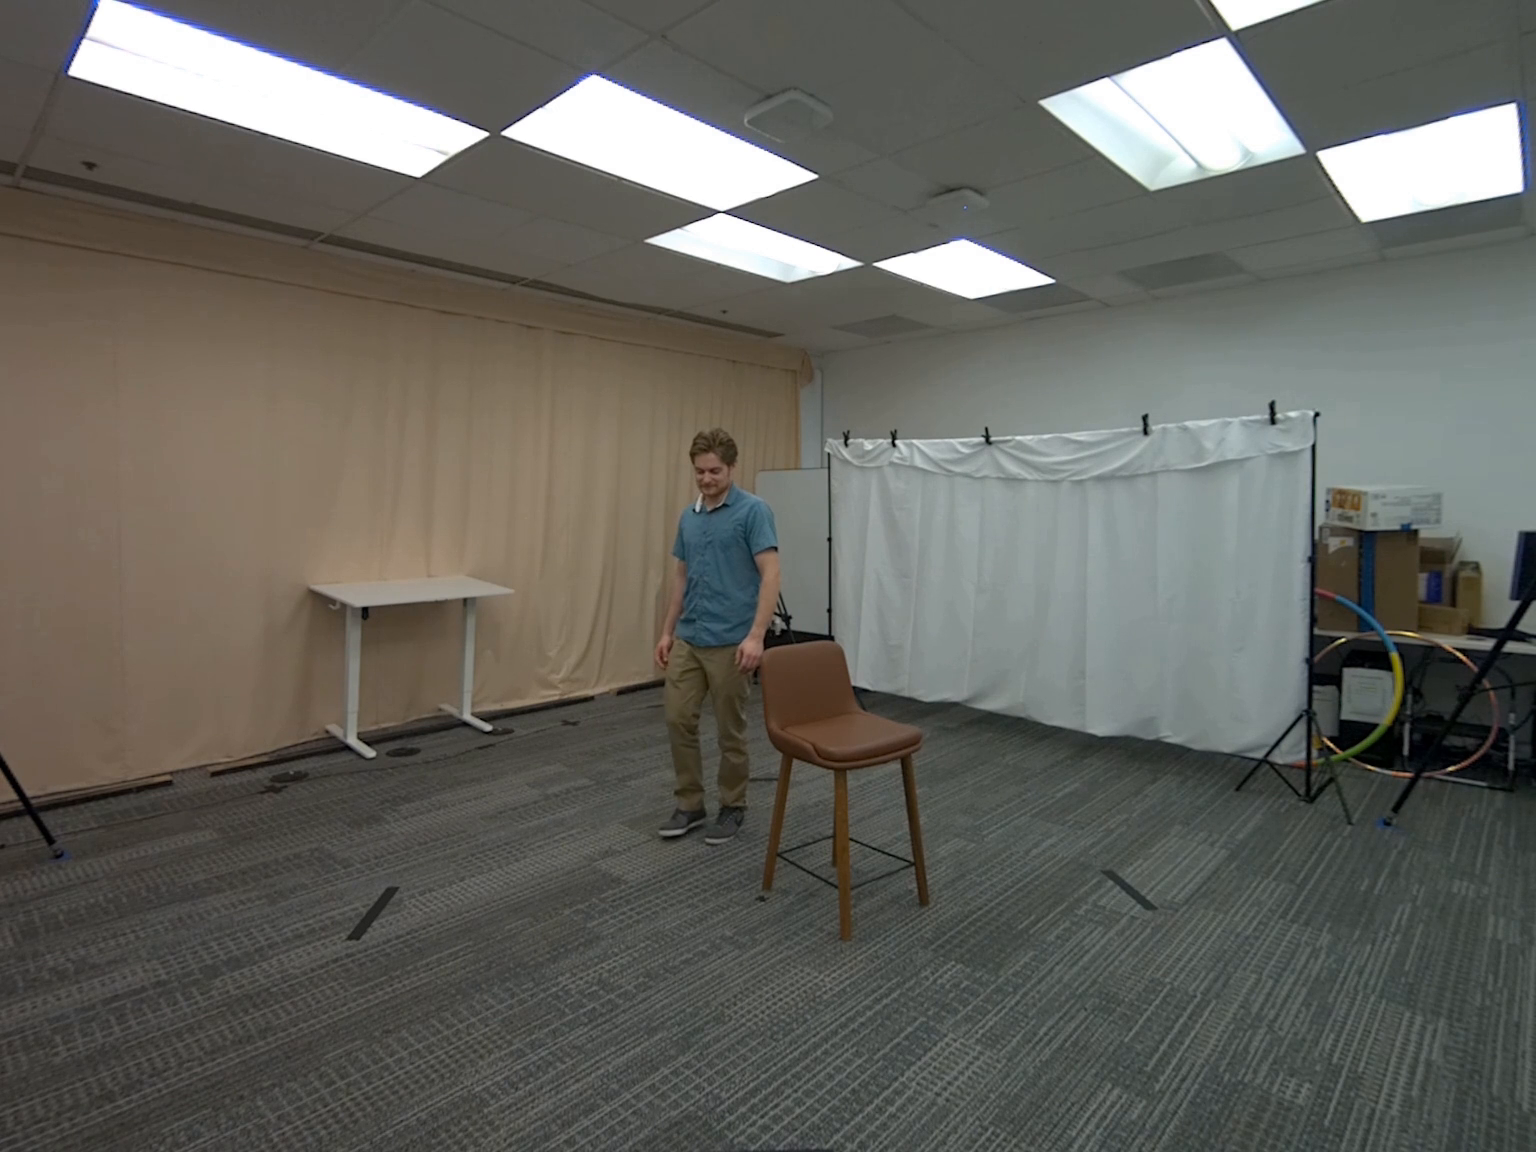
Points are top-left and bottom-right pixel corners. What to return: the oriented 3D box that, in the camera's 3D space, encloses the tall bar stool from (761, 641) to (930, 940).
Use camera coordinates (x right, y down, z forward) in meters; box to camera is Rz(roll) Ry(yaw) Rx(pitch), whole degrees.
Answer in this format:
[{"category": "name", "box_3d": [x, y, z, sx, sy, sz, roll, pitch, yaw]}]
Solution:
[{"category": "tall bar stool", "box_3d": [0.262, 0.710, 2.969, 0.443, 0.889, 0.482, -3, 2, -38]}]
